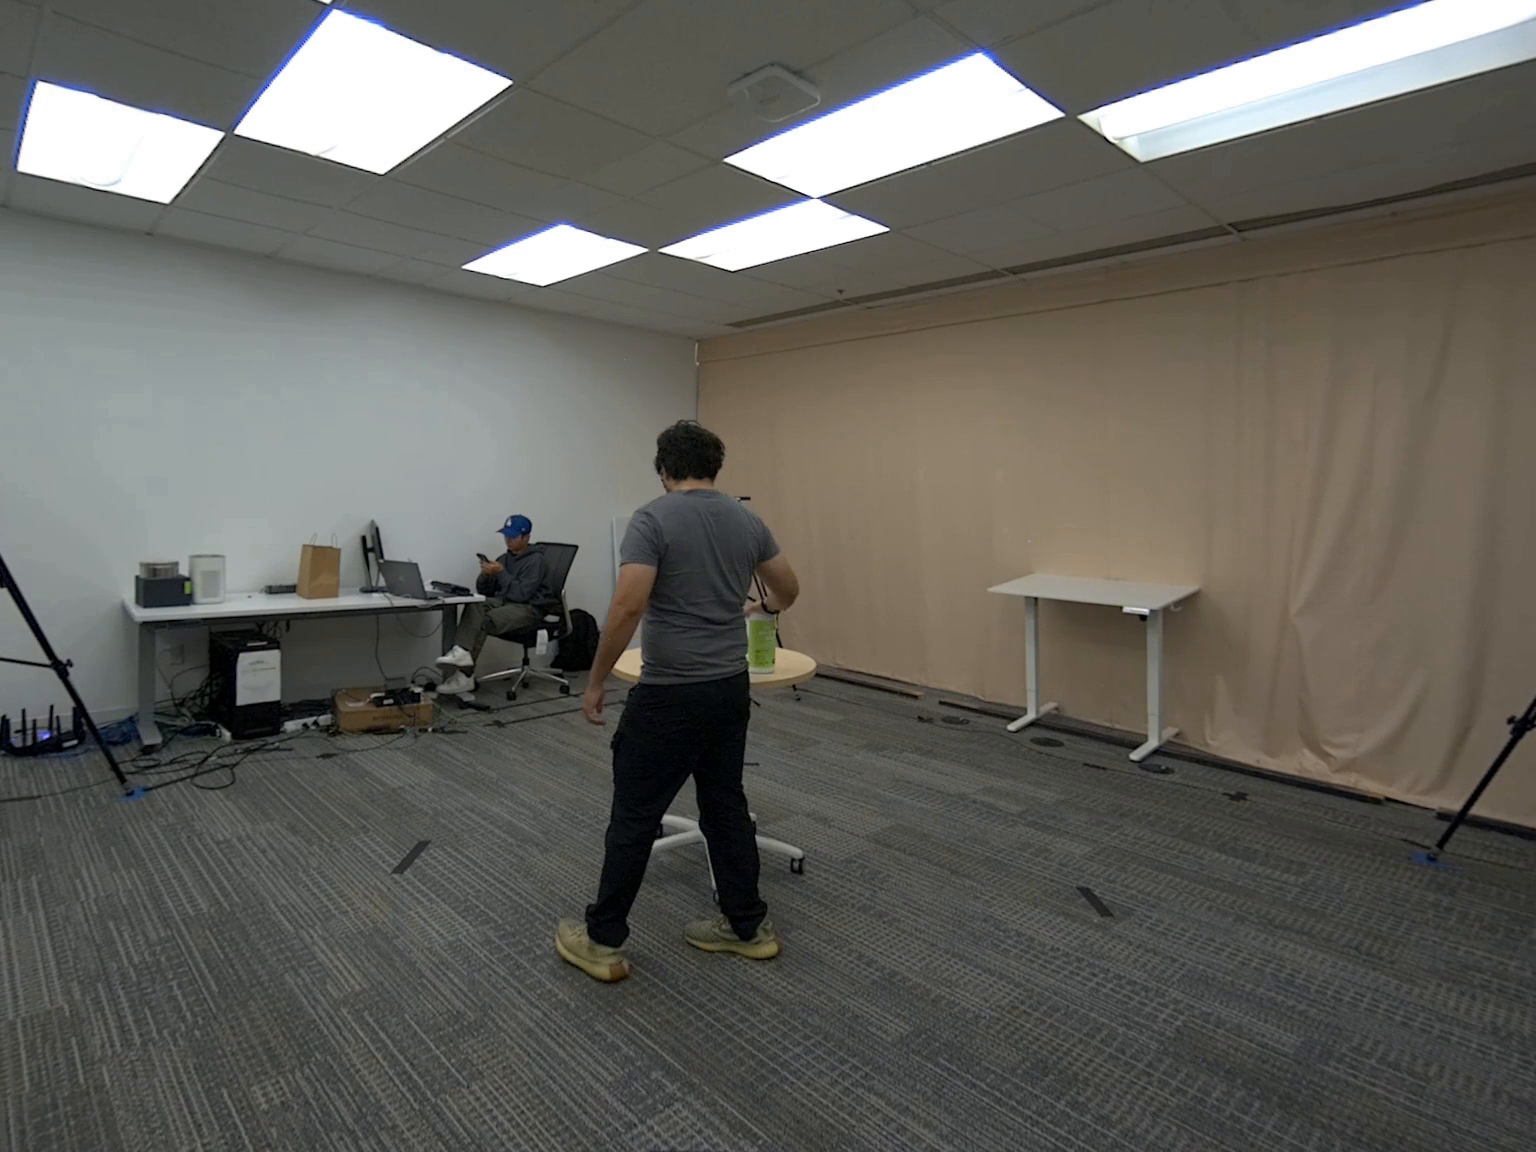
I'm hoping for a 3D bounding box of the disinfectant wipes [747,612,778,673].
[{"bbox_3d":[-0.035,0.234,2.976,0.118,0.216,0.118,3,6,-2],"label":"disinfectant wipes"}]
